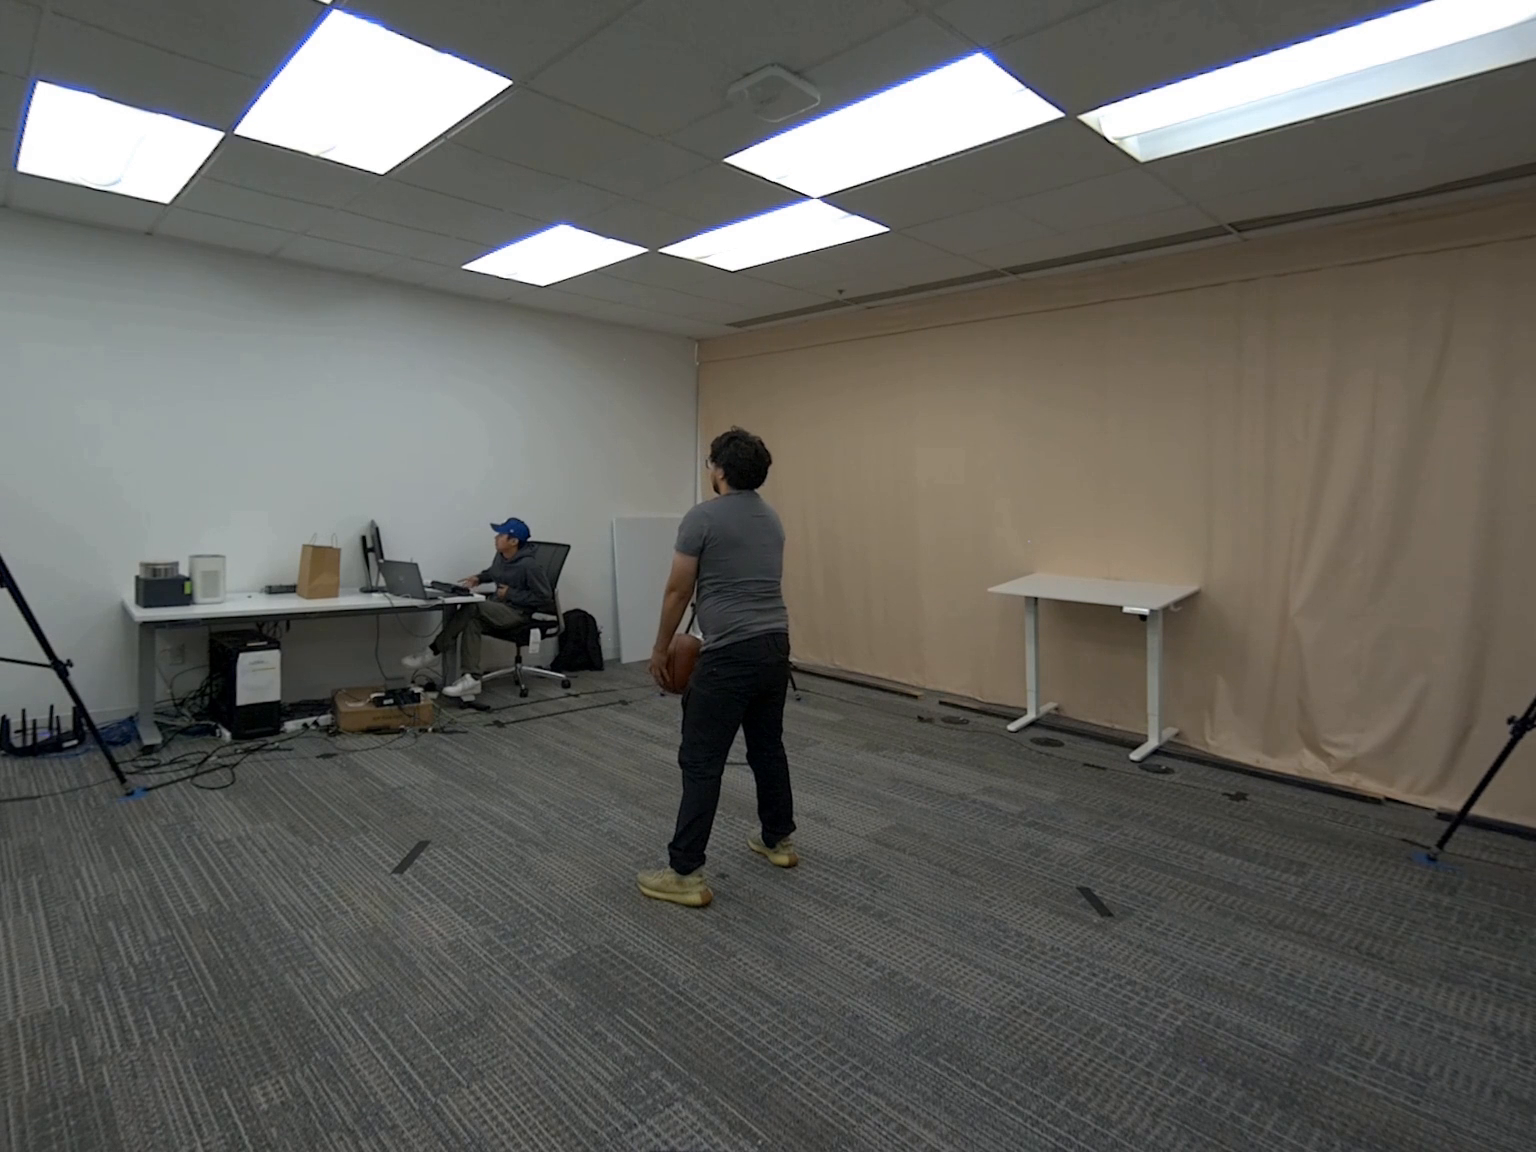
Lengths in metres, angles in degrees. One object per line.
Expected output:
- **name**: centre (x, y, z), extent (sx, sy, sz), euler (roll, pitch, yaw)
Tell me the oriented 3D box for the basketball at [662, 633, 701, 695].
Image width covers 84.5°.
- **basketball**: centre (-0.339, 0.342, 3.292), extent (0.236, 0.235, 0.237), euler (1, 4, -1)
